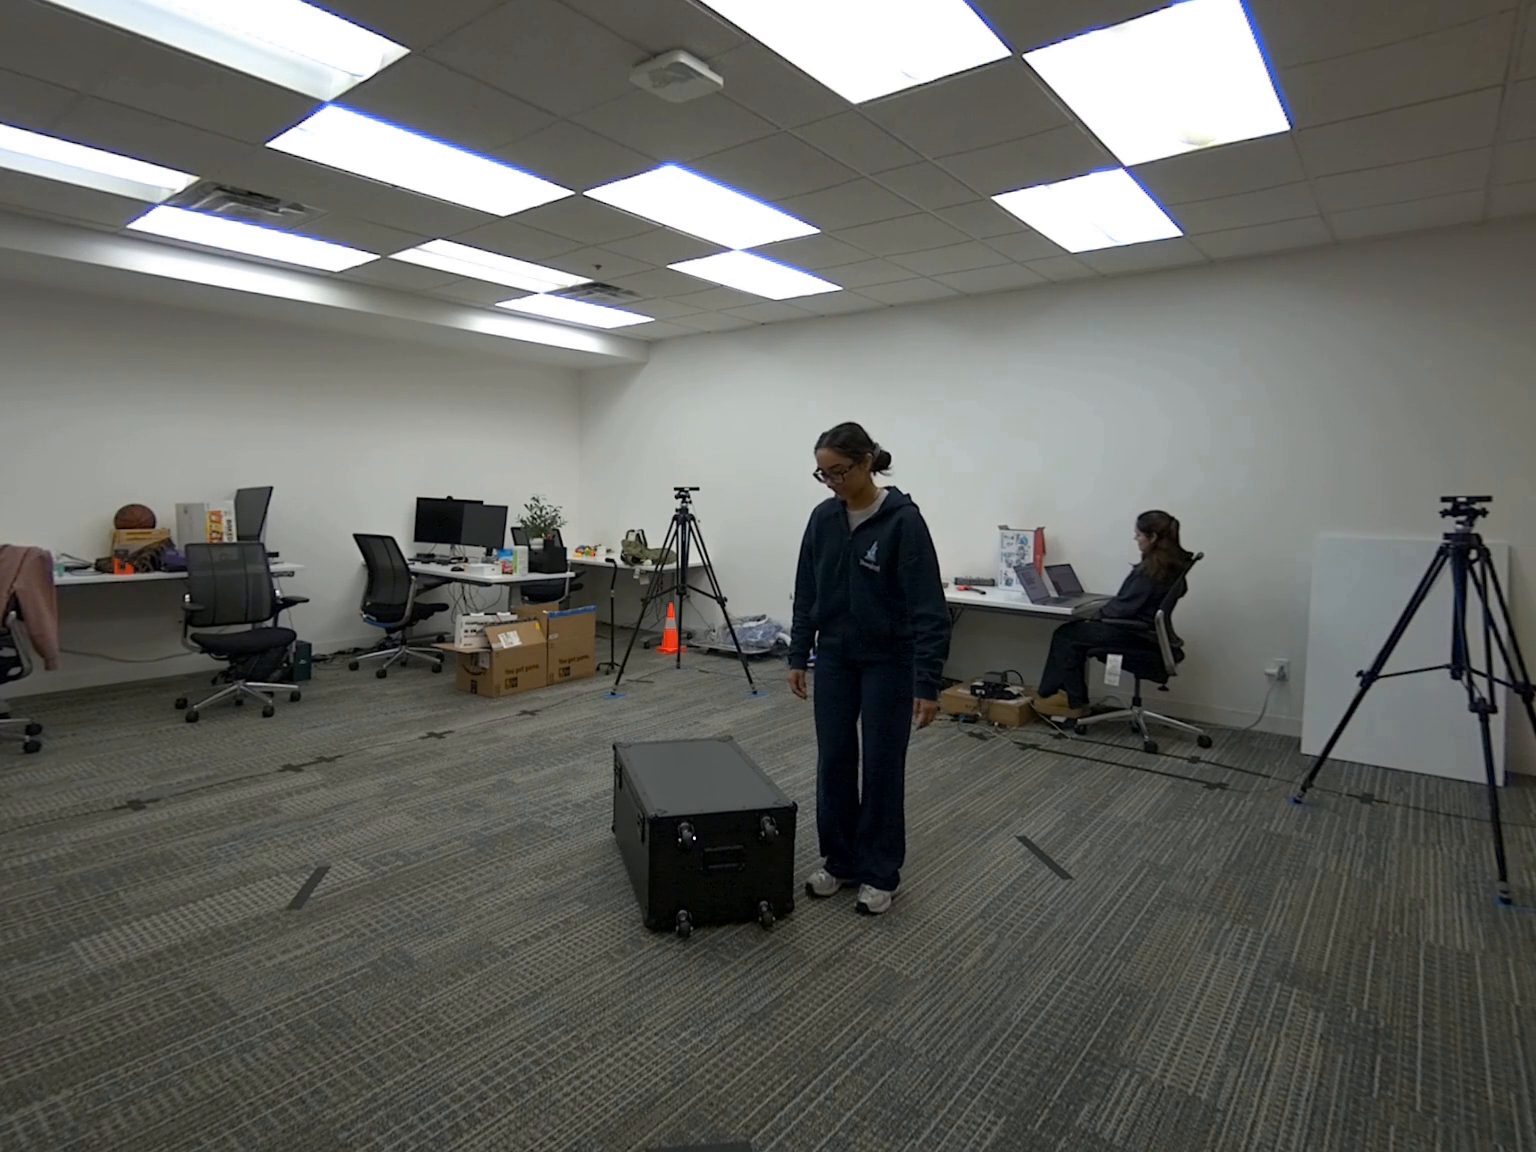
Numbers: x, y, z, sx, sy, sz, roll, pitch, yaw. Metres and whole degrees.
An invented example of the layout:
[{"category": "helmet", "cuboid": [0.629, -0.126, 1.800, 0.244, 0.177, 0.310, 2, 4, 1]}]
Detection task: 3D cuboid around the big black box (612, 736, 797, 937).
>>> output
[{"category": "big black box", "cuboid": [-0.263, 0.883, 3.018, 0.512, 0.395, 0.880, 0, 5, -18]}]
